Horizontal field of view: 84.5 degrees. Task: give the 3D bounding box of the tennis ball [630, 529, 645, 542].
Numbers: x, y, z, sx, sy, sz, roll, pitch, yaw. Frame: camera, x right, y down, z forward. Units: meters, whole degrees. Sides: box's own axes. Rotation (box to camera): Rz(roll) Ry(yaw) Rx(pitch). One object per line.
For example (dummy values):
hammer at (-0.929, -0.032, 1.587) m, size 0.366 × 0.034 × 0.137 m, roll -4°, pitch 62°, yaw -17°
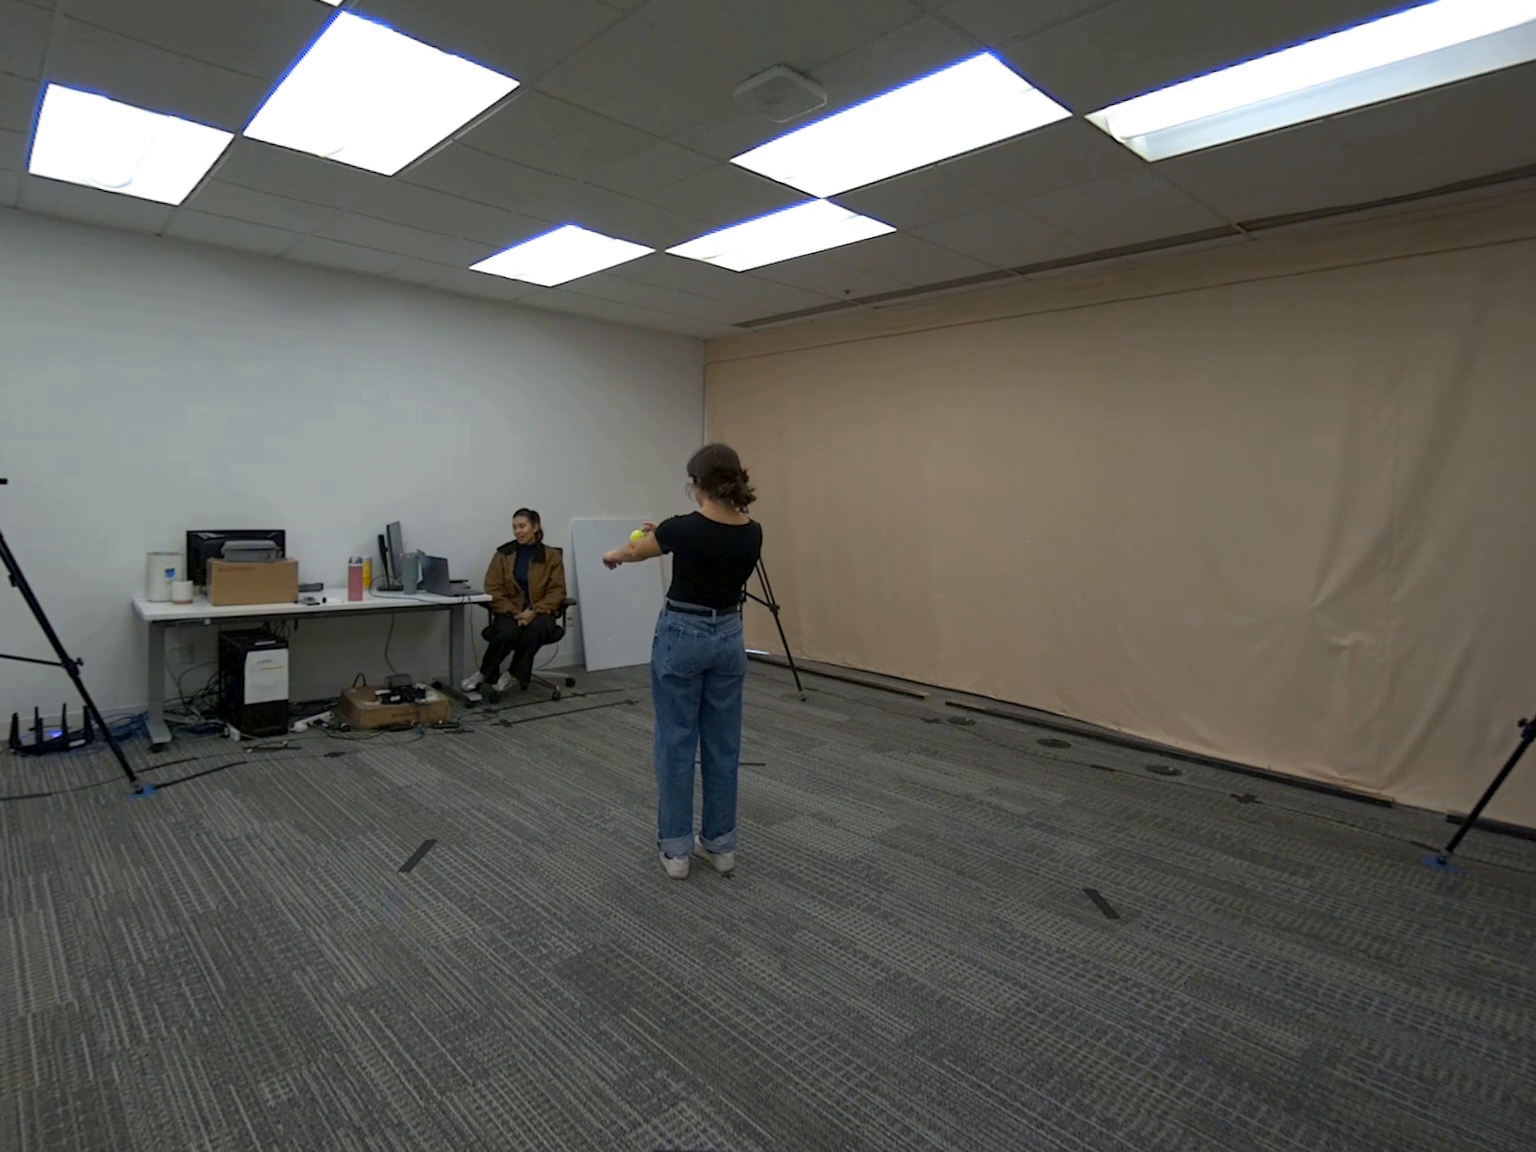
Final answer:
tennis ball at (-0.467, -0.147, 3.287) m, size 0.066 × 0.066 × 0.067 m, roll 1°, pitch 4°, yaw -1°
